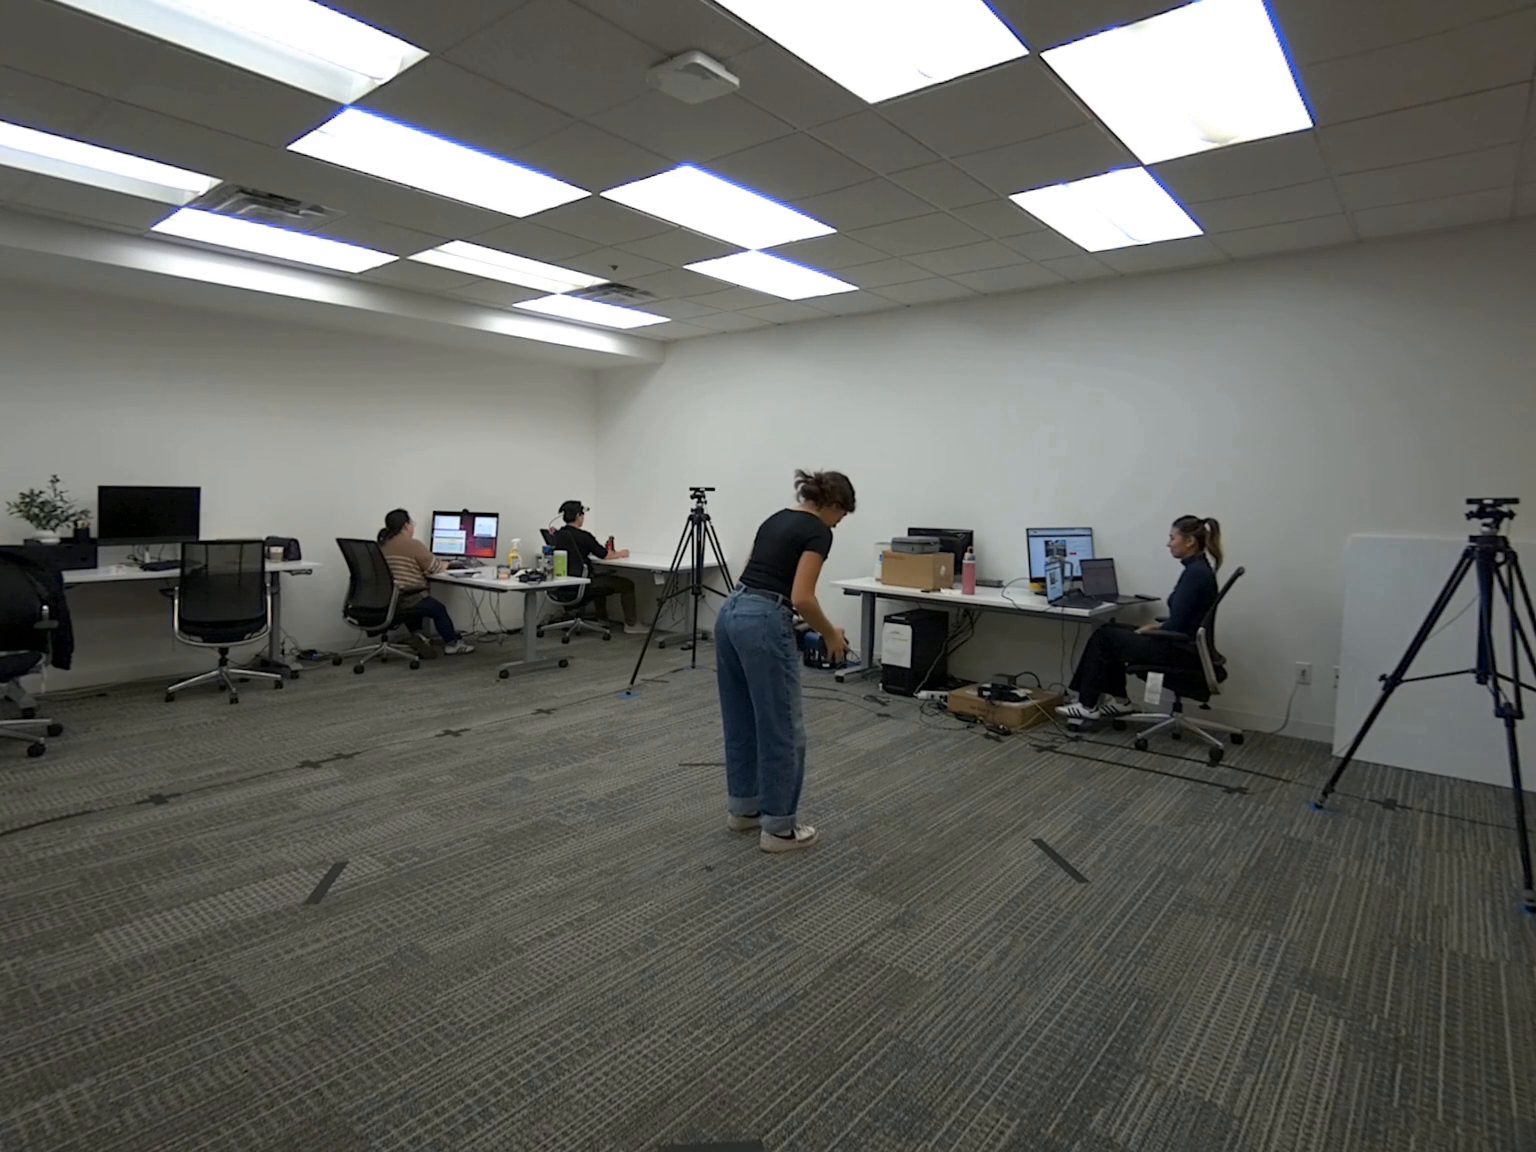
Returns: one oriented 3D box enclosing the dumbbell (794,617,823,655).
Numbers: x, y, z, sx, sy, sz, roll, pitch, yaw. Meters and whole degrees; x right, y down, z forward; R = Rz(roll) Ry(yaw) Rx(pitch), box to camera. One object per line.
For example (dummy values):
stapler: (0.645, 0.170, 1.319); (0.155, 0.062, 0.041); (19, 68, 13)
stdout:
dumbbell: (0.191, 0.266, 3.470); (0.105, 0.123, 0.303); (12, 1, -31)
